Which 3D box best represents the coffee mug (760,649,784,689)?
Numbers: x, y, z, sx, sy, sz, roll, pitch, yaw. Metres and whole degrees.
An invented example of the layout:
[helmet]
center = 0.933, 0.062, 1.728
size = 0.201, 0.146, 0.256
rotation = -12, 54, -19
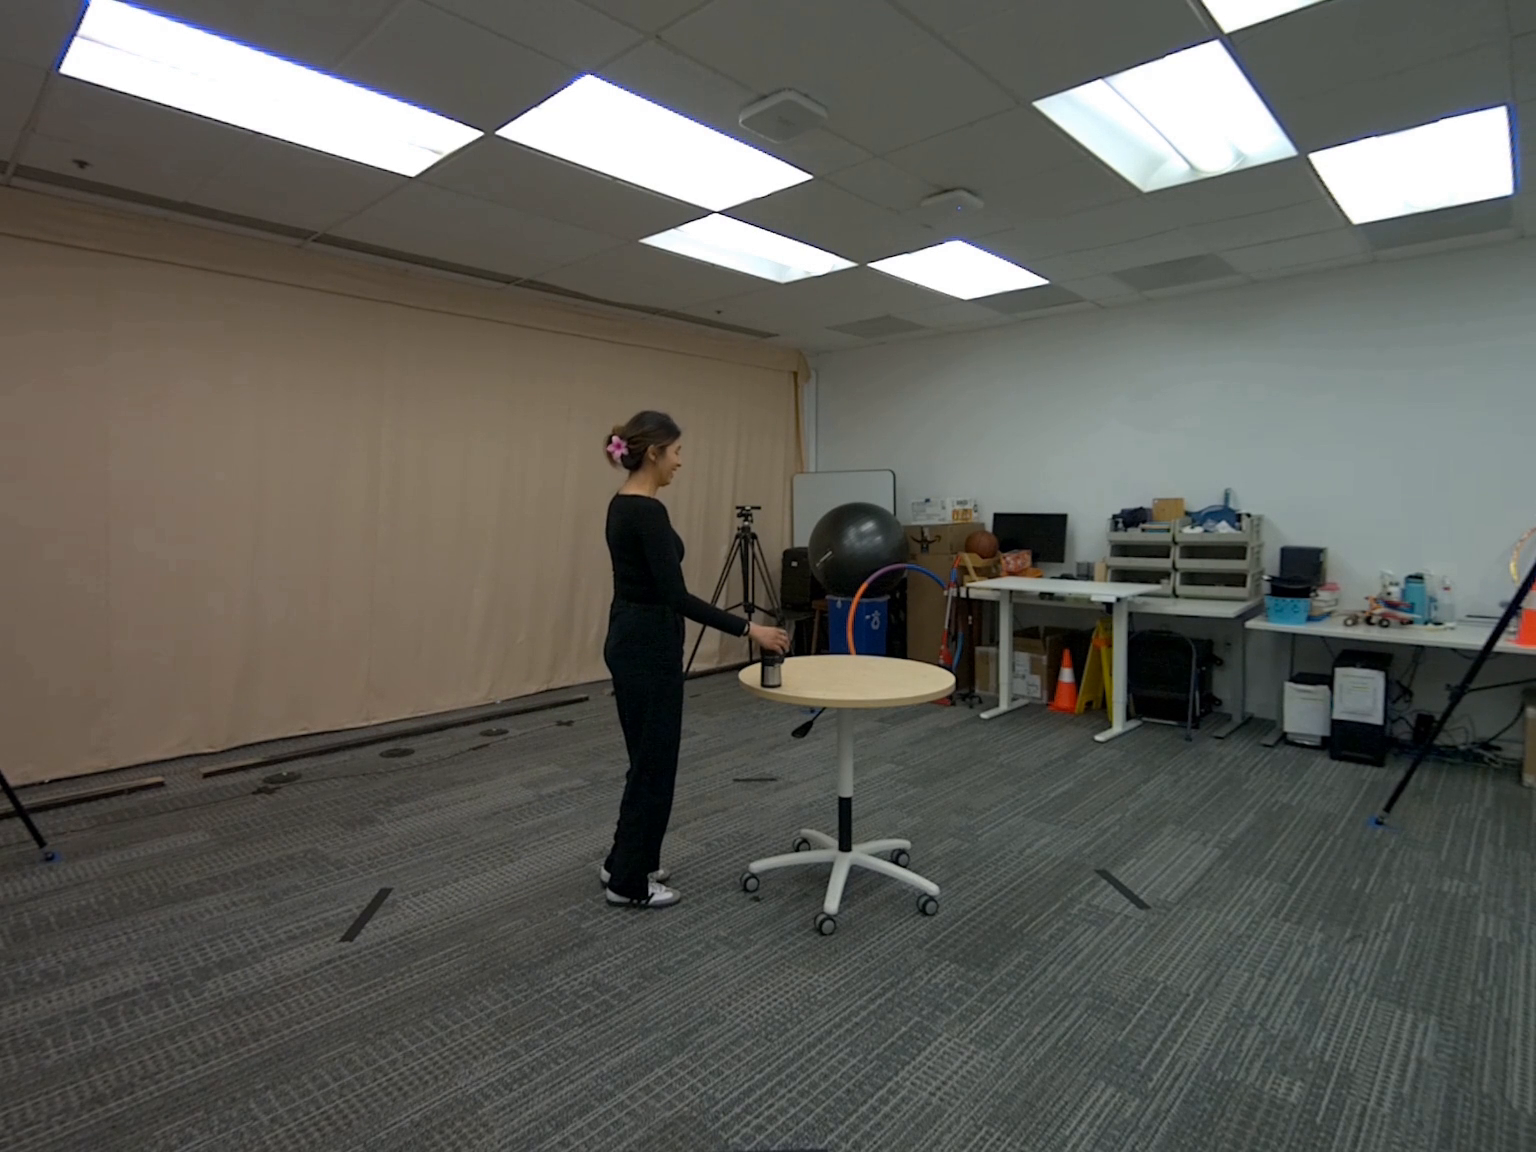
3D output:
[coffee mug]
center = 0.002, 0.278, 2.818
size = 0.090, 0.202, 0.120
rotation = 4, 4, 18
